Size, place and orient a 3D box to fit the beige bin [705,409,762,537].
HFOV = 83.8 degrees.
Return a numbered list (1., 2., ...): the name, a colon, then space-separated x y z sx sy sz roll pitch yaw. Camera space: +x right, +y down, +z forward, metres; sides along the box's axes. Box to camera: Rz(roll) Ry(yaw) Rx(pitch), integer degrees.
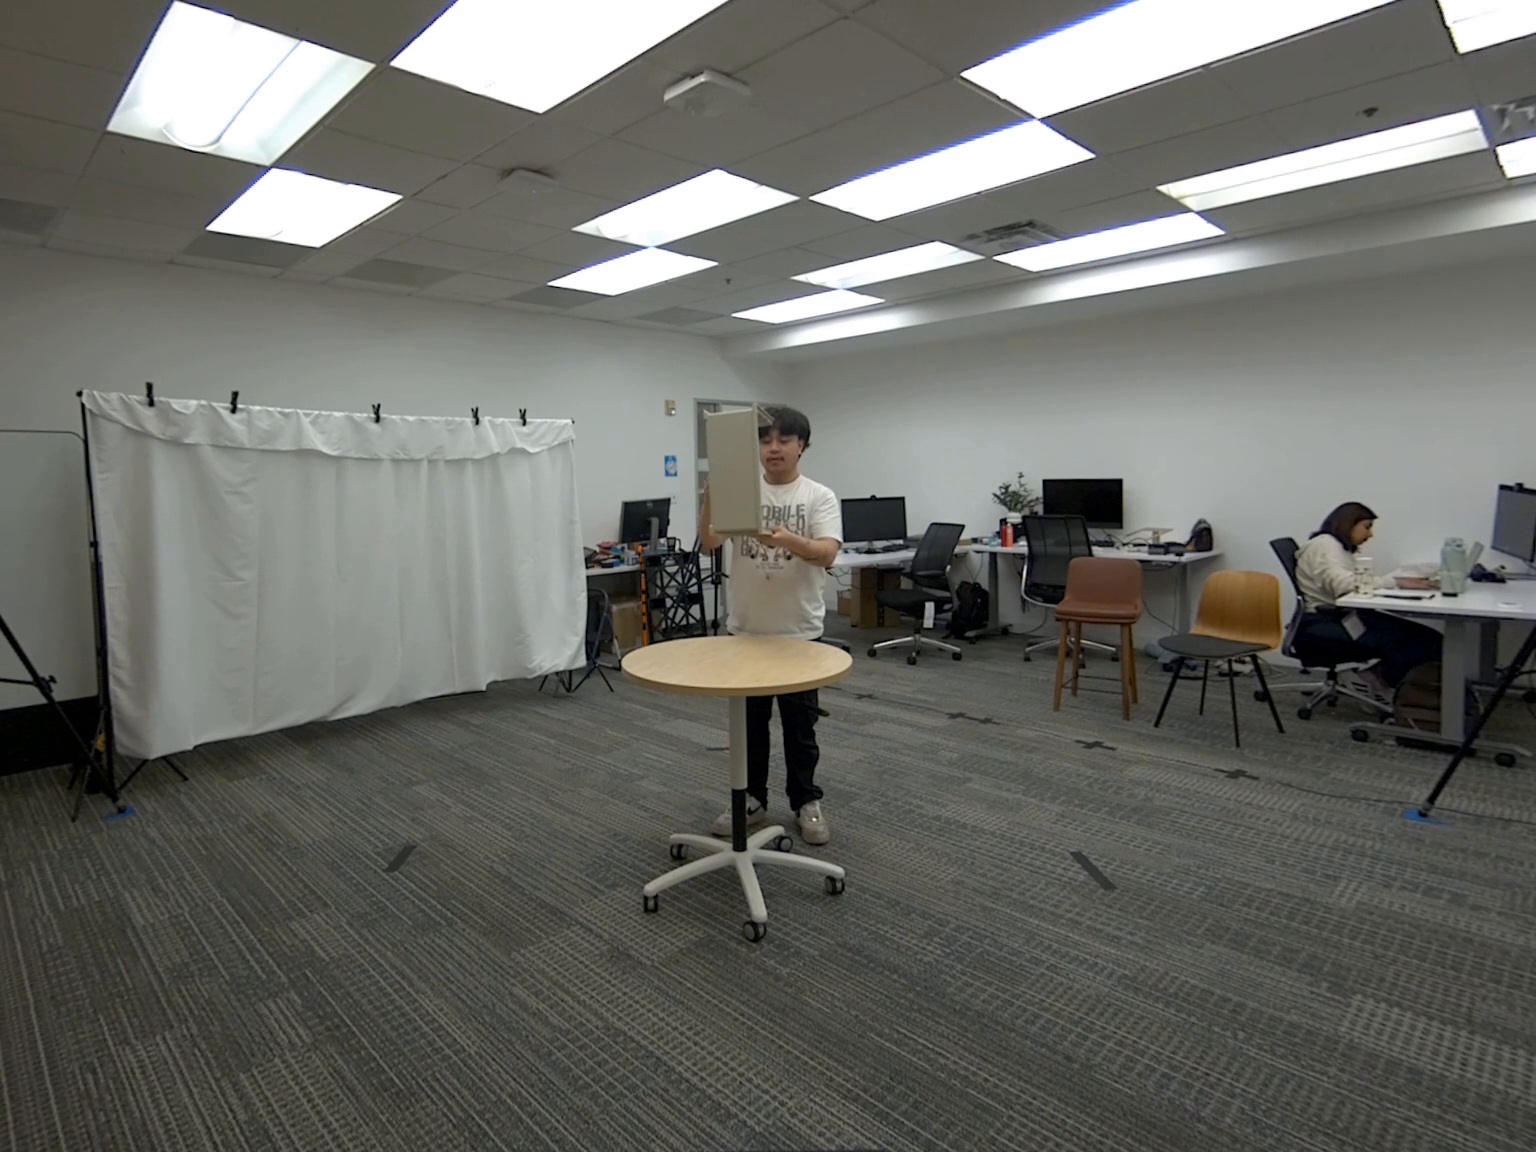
1. beige bin: -0.065 -0.346 2.941 0.191 0.423 0.372 -3 -1 11
